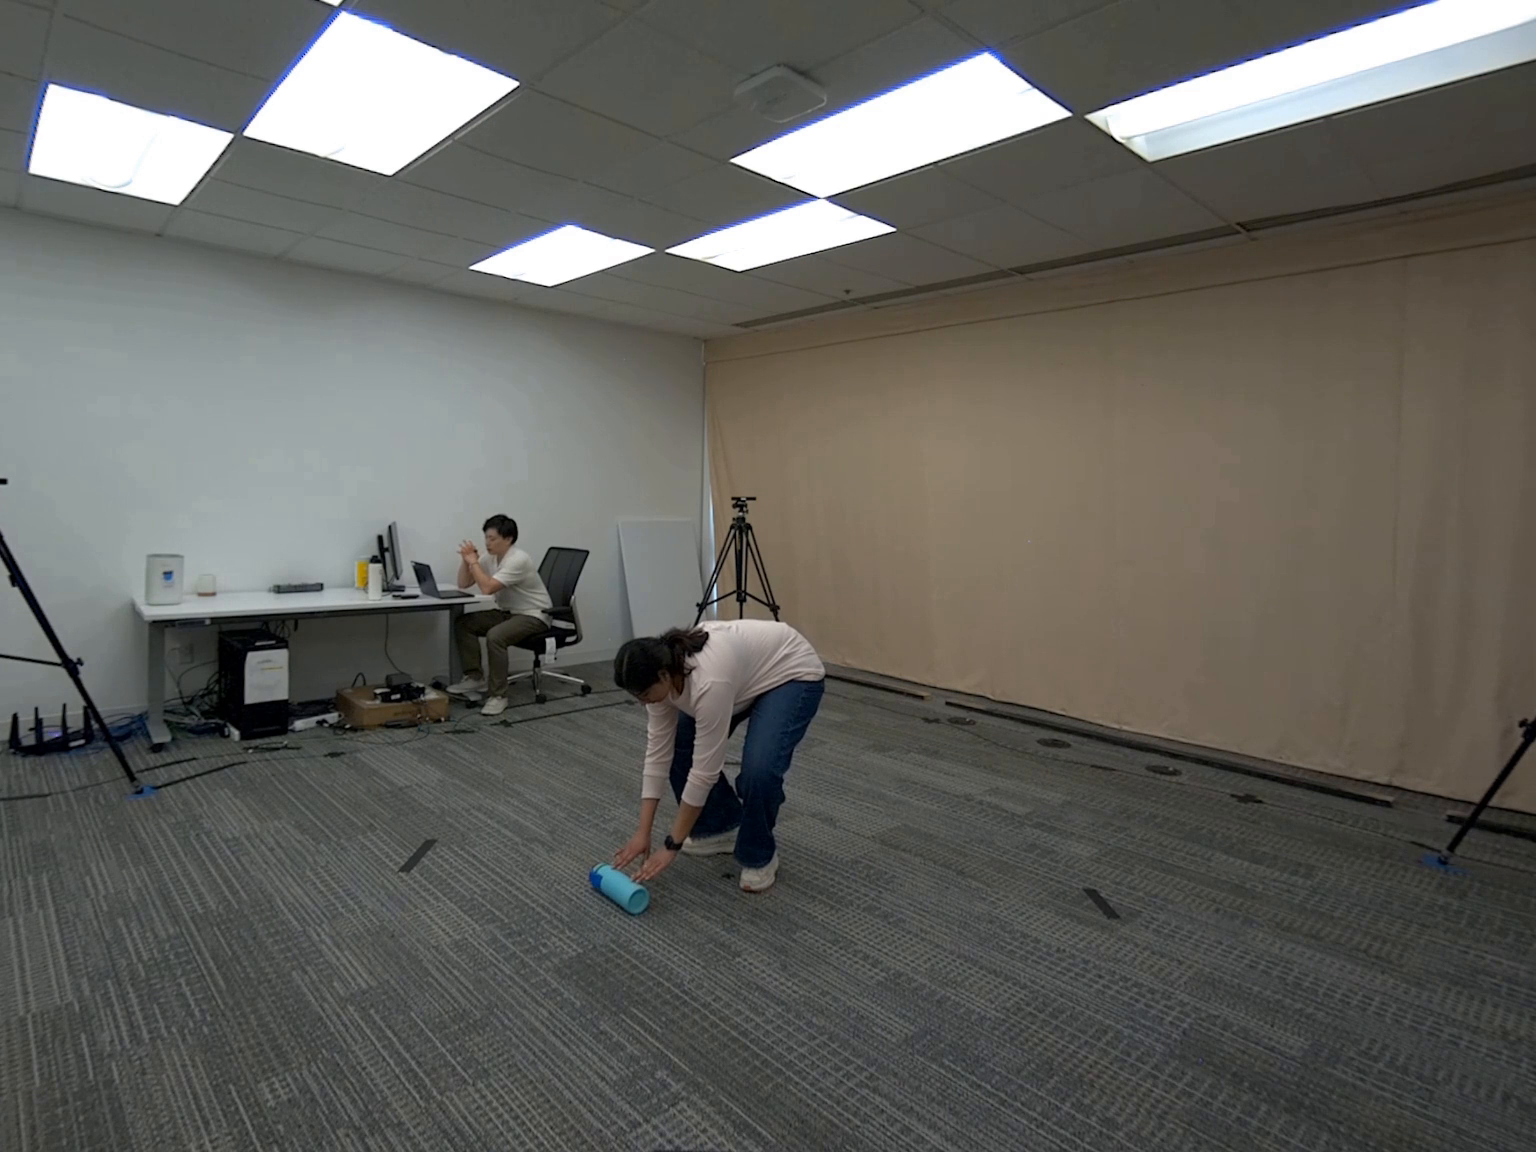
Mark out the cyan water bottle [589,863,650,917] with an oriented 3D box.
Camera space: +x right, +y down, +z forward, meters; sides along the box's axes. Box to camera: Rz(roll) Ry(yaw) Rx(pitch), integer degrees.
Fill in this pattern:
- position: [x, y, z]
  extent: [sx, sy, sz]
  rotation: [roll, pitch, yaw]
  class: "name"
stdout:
- position: [-0.527, 1.067, 2.906]
  extent: [0.090, 0.092, 0.291]
  rotation: [-2, 7, -40]
  class: "cyan water bottle"
